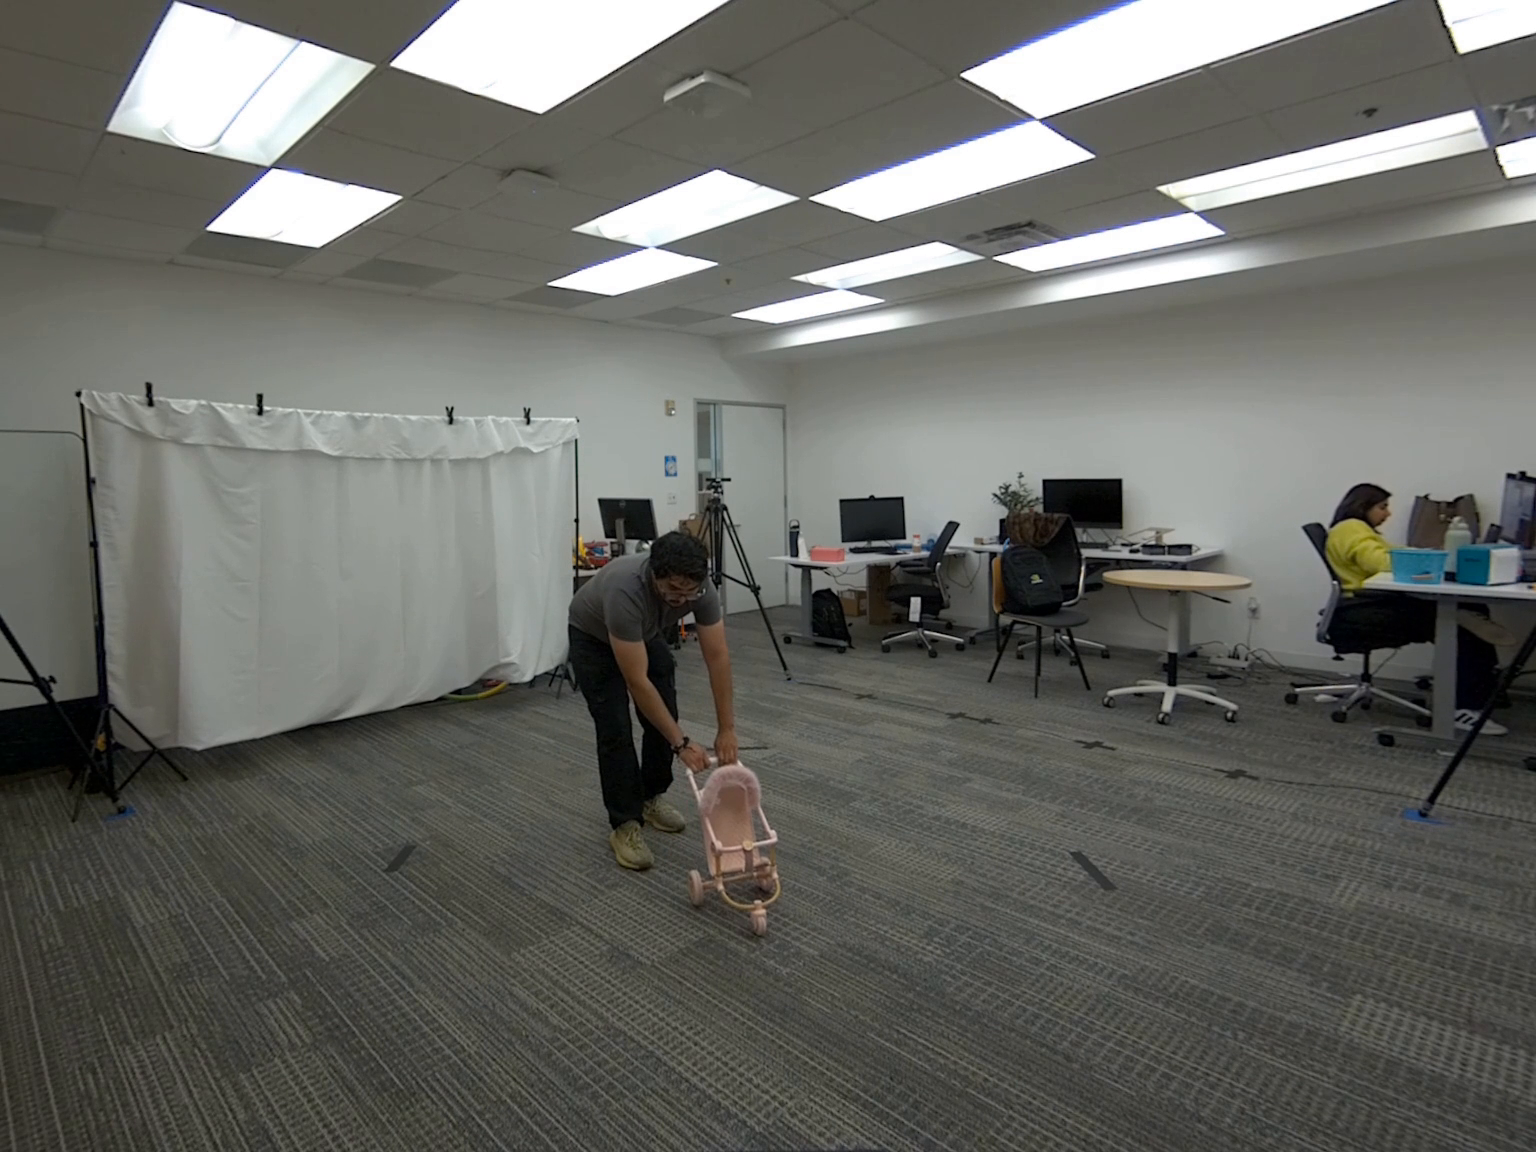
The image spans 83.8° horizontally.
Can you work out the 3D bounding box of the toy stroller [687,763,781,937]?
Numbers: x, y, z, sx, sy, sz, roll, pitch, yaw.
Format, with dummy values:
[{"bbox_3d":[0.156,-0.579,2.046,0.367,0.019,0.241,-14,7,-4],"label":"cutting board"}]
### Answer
[{"bbox_3d":[-0.108,0.855,2.794,0.277,0.542,0.342,-3,-12,-18],"label":"toy stroller"}]
